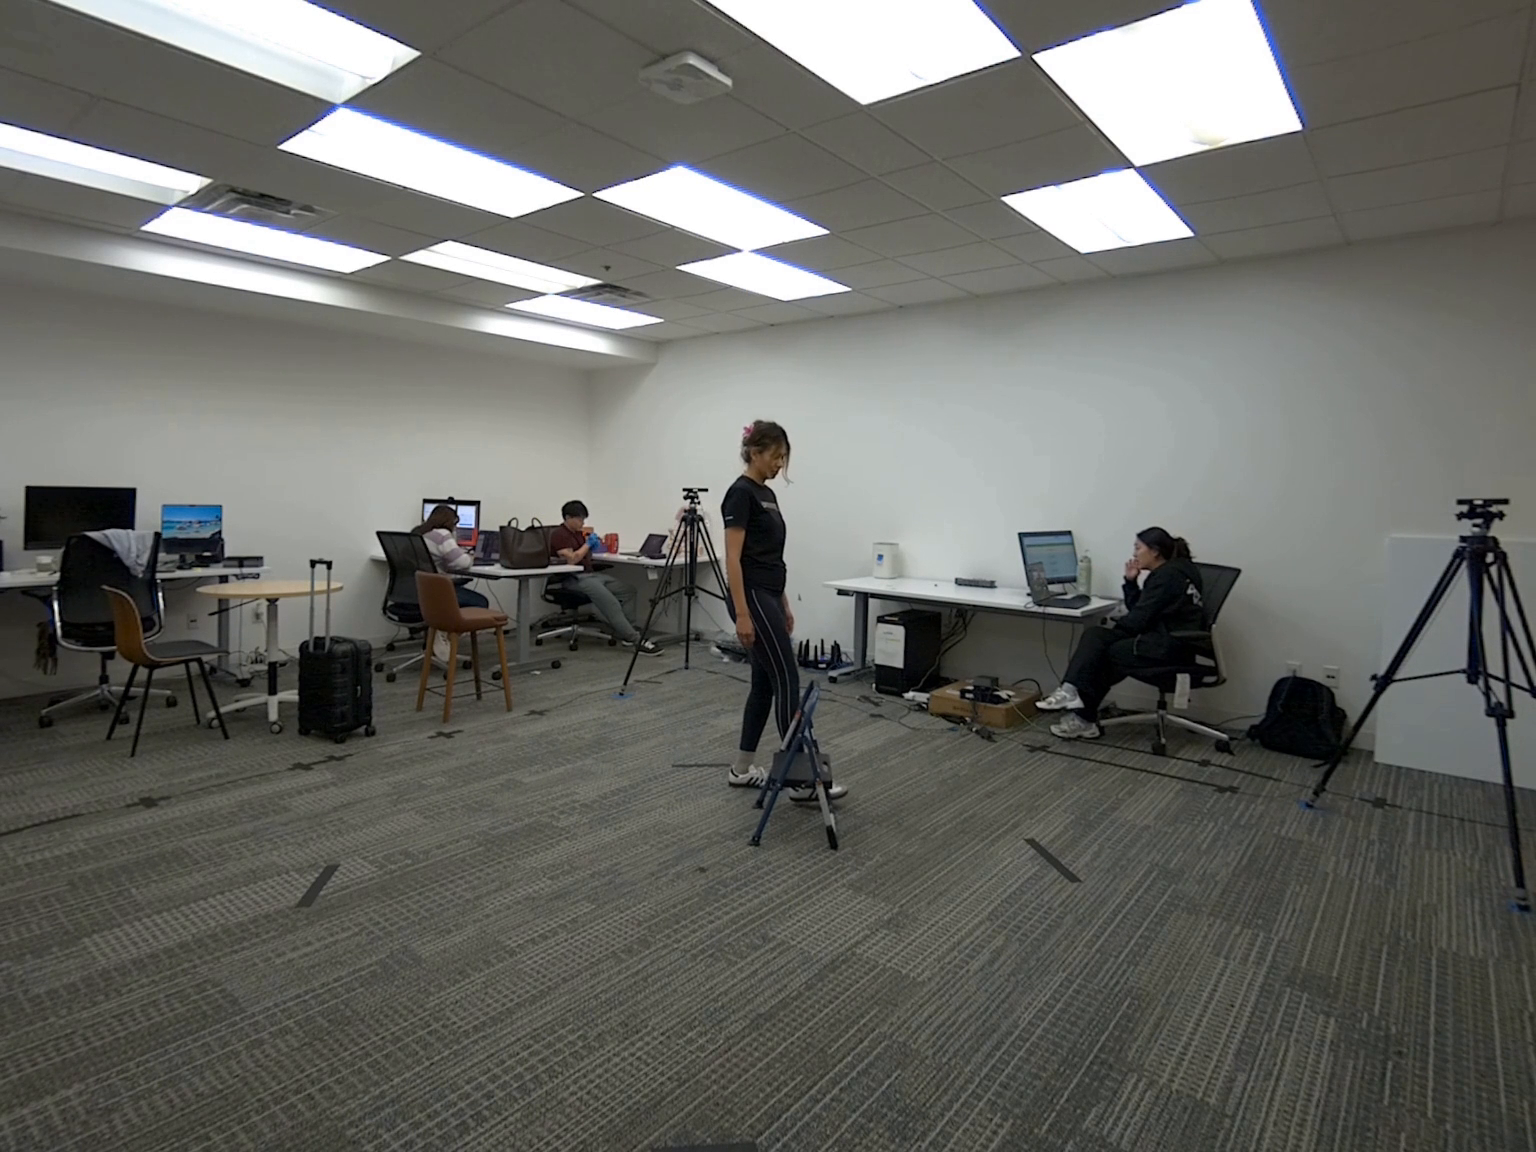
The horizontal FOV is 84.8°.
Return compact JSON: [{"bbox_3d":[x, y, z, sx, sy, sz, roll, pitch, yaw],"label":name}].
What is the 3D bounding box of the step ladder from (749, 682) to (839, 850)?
[{"bbox_3d":[0.104,0.739,3.501,0.351,0.604,0.430,0,4,3],"label":"step ladder"}]
